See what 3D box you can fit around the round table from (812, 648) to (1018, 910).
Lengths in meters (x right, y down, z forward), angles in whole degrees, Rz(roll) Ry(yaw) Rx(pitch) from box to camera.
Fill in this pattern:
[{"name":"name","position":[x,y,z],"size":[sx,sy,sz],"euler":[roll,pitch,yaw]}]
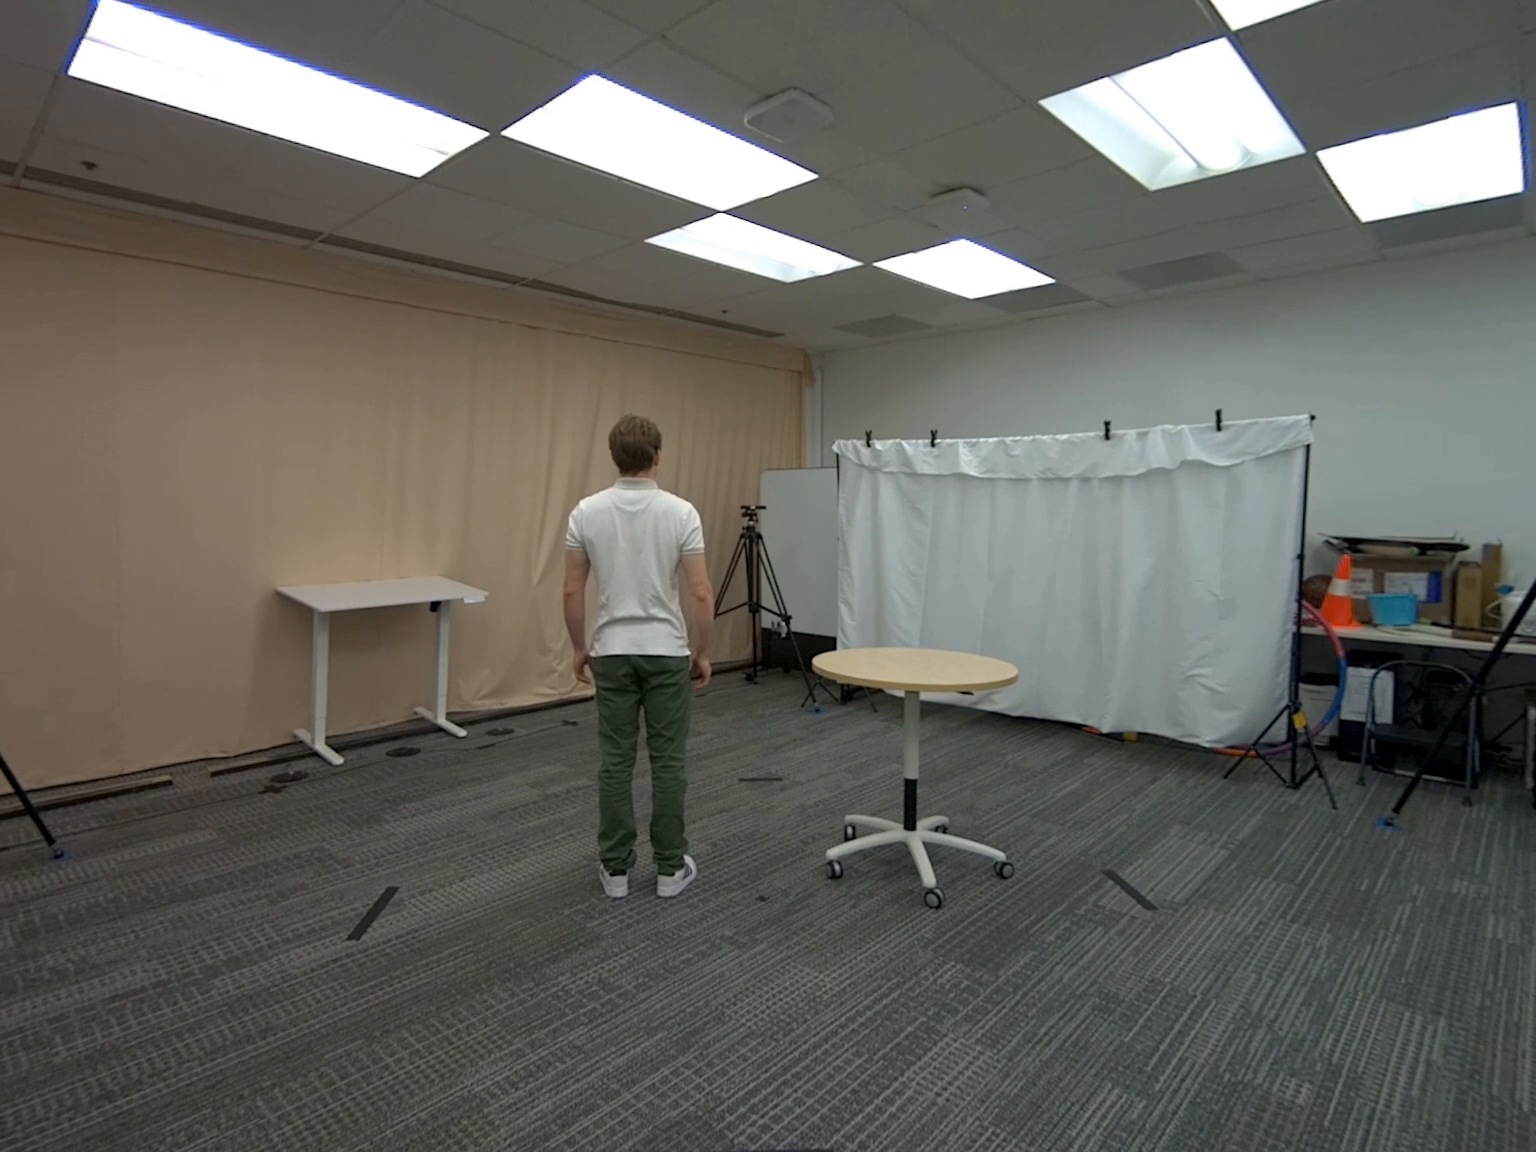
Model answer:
[{"name":"round table","position":[0.557,0.733,3.246],"size":[0.763,0.792,0.766],"euler":[0,3,-2]}]
